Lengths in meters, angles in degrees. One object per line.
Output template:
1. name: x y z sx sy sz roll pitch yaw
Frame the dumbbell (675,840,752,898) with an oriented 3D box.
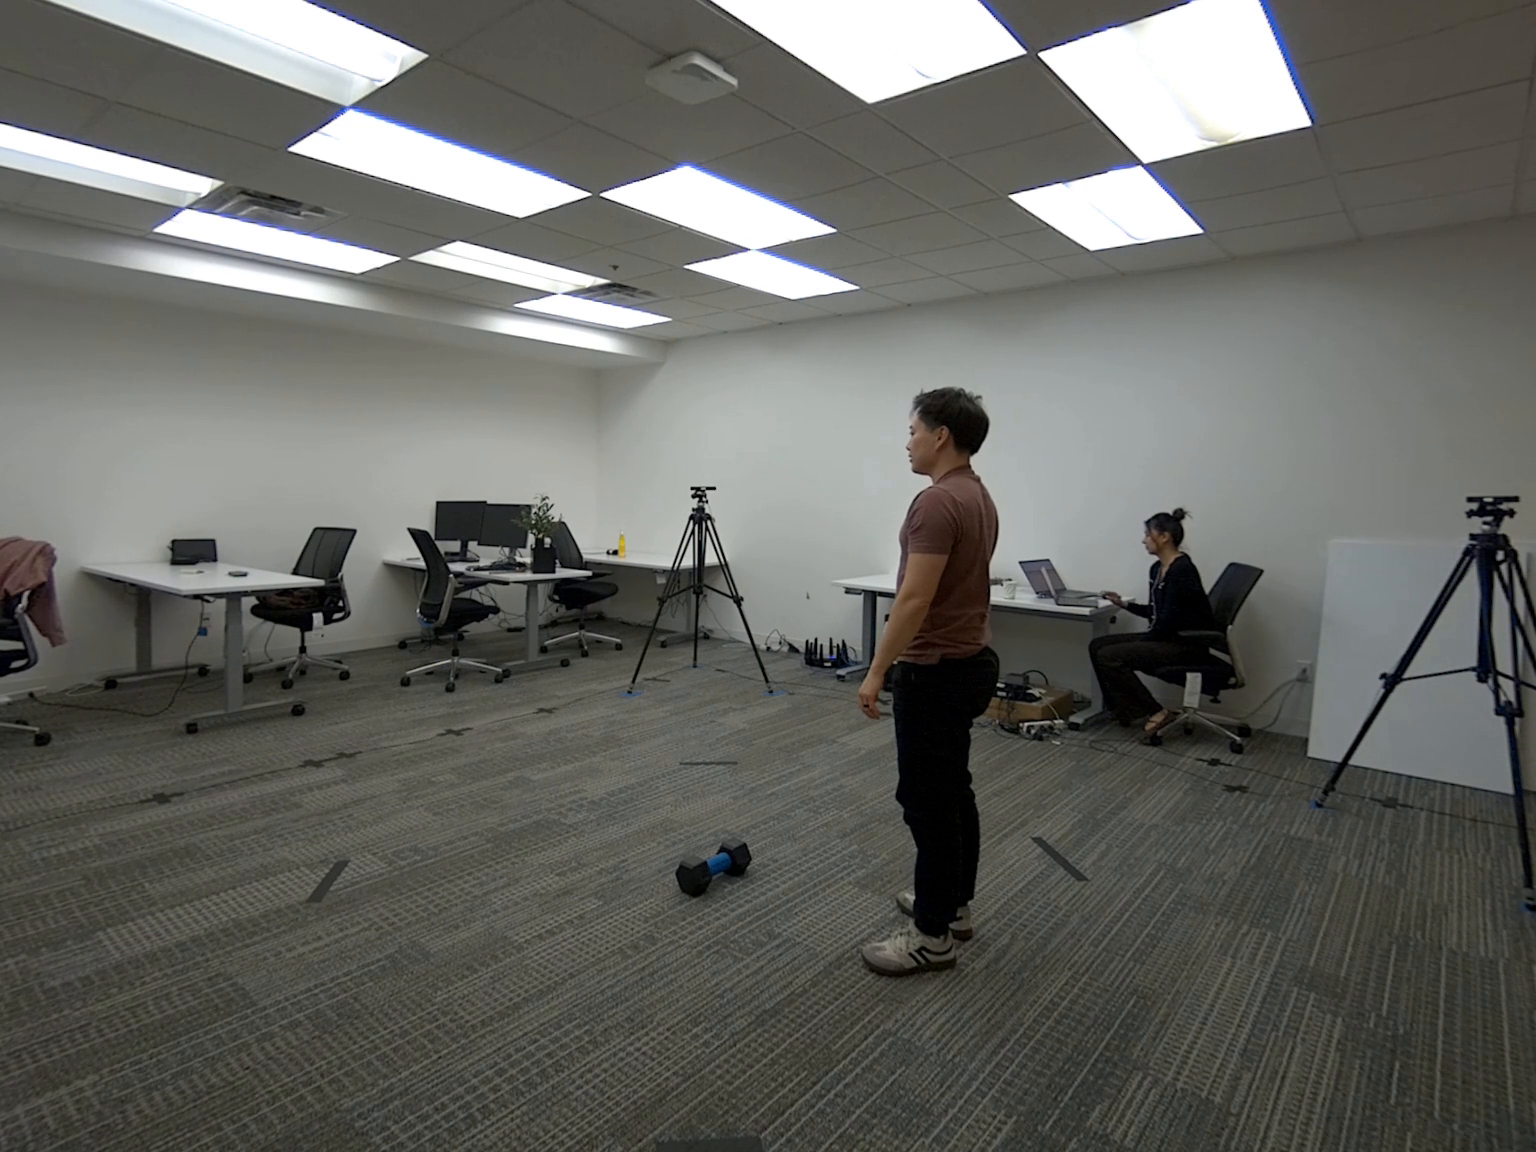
1. dumbbell: -0.198 1.020 3.004 0.113 0.122 0.285 38 27 32
